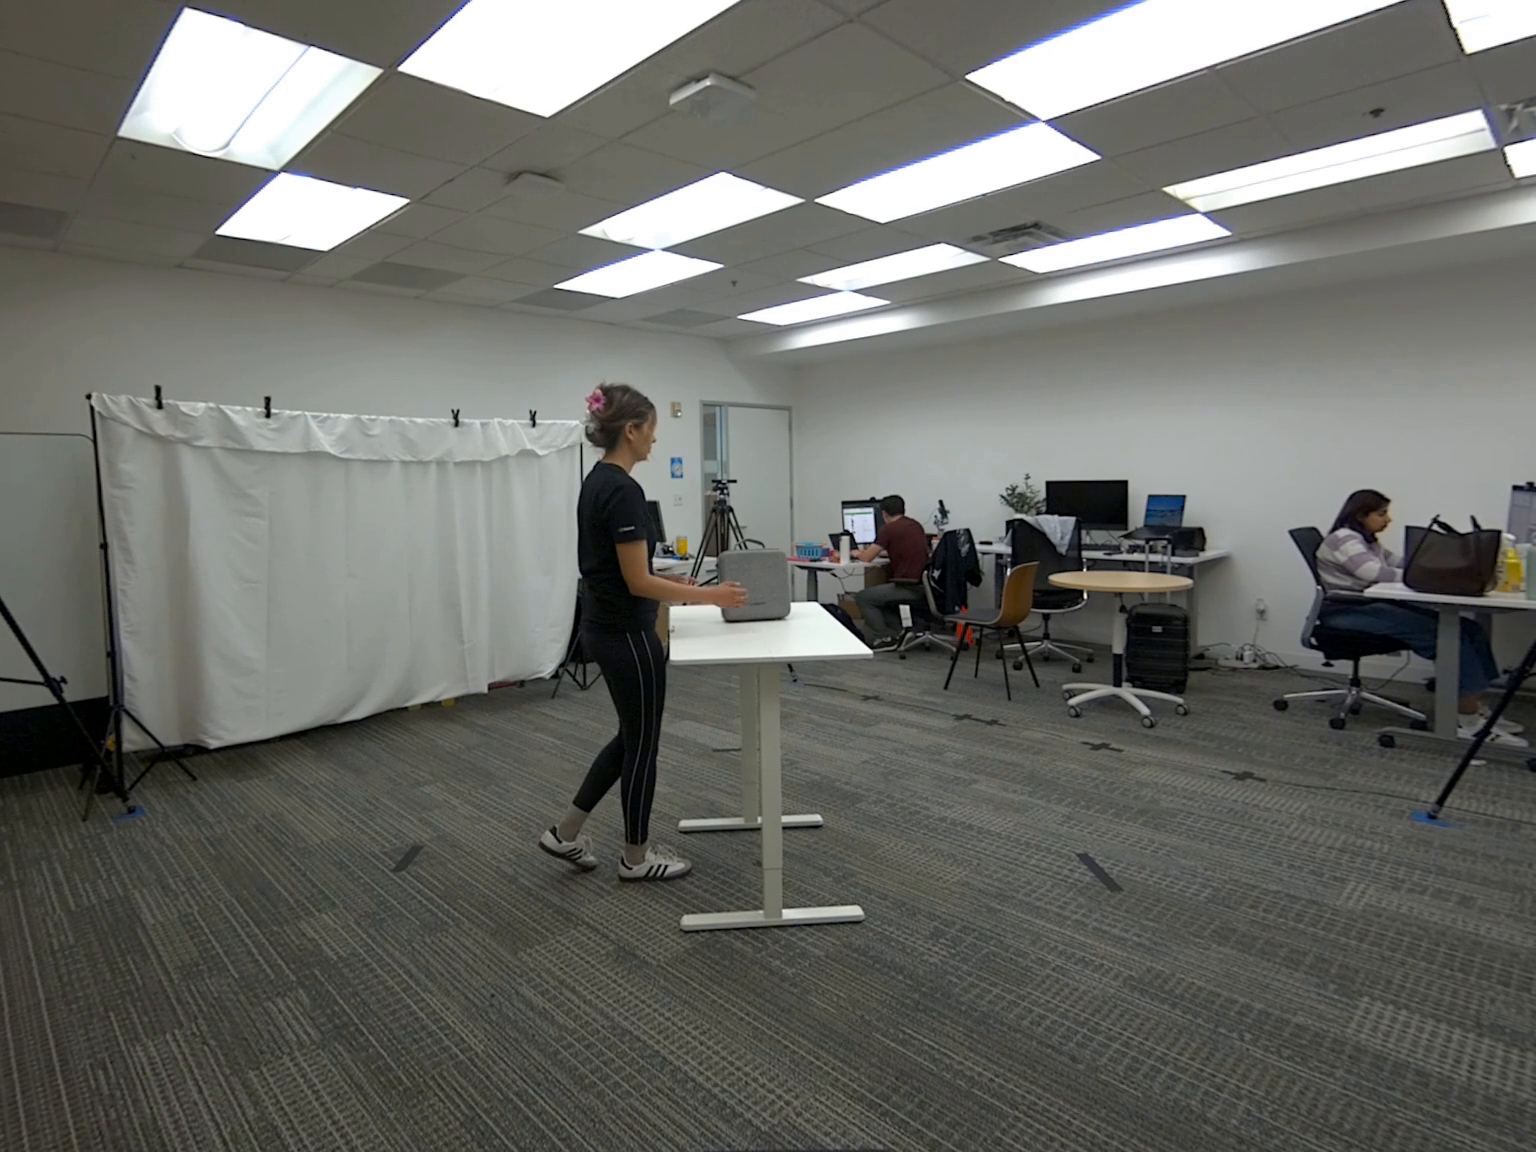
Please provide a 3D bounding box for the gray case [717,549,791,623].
[{"bbox_3d":[-0.049,0.030,3.138,0.254,0.262,0.105,-2,-5,-13],"label":"gray case"}]
